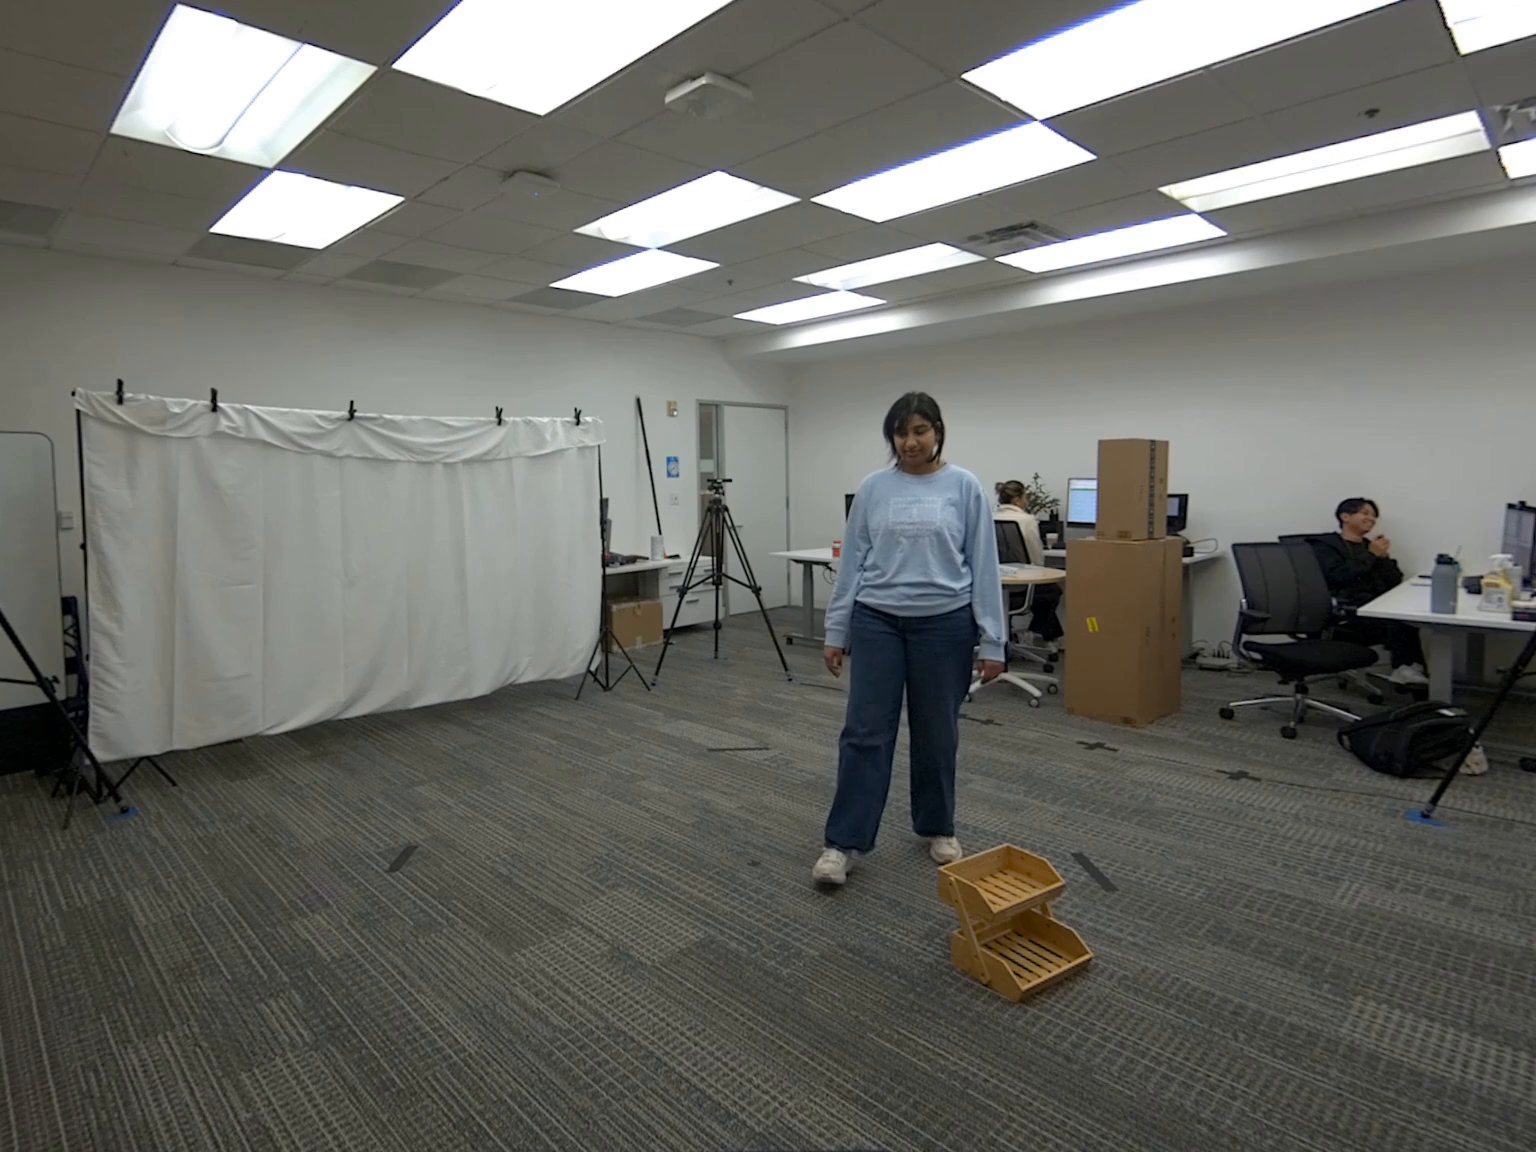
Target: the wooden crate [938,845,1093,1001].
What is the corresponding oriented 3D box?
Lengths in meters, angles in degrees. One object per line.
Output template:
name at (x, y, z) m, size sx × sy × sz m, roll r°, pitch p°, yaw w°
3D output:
wooden crate at (0.719, 0.984, 2.437) m, size 0.316 × 0.272 × 0.310 m, roll -4°, pitch 5°, yaw -33°
